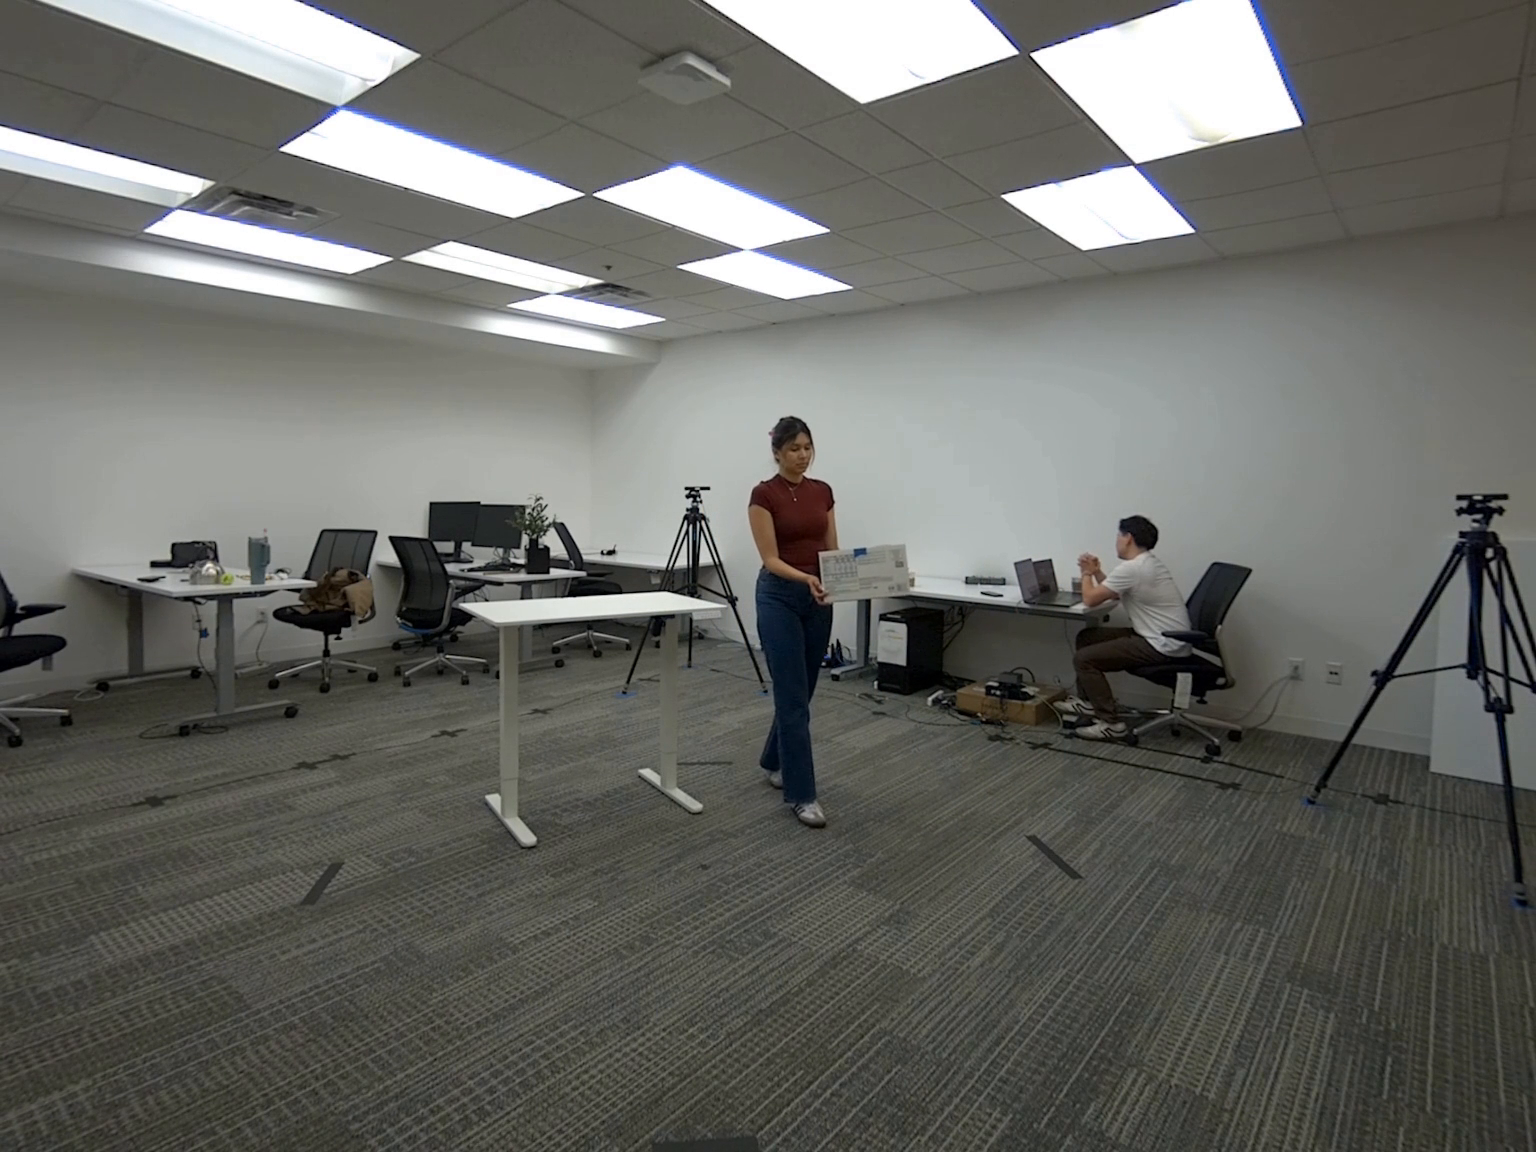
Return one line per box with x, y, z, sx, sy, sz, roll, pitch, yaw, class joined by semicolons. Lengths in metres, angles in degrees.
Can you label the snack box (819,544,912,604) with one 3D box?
0.389;-0.021;3.521;0.343;0.206;0.401;-6;0;8;snack box
